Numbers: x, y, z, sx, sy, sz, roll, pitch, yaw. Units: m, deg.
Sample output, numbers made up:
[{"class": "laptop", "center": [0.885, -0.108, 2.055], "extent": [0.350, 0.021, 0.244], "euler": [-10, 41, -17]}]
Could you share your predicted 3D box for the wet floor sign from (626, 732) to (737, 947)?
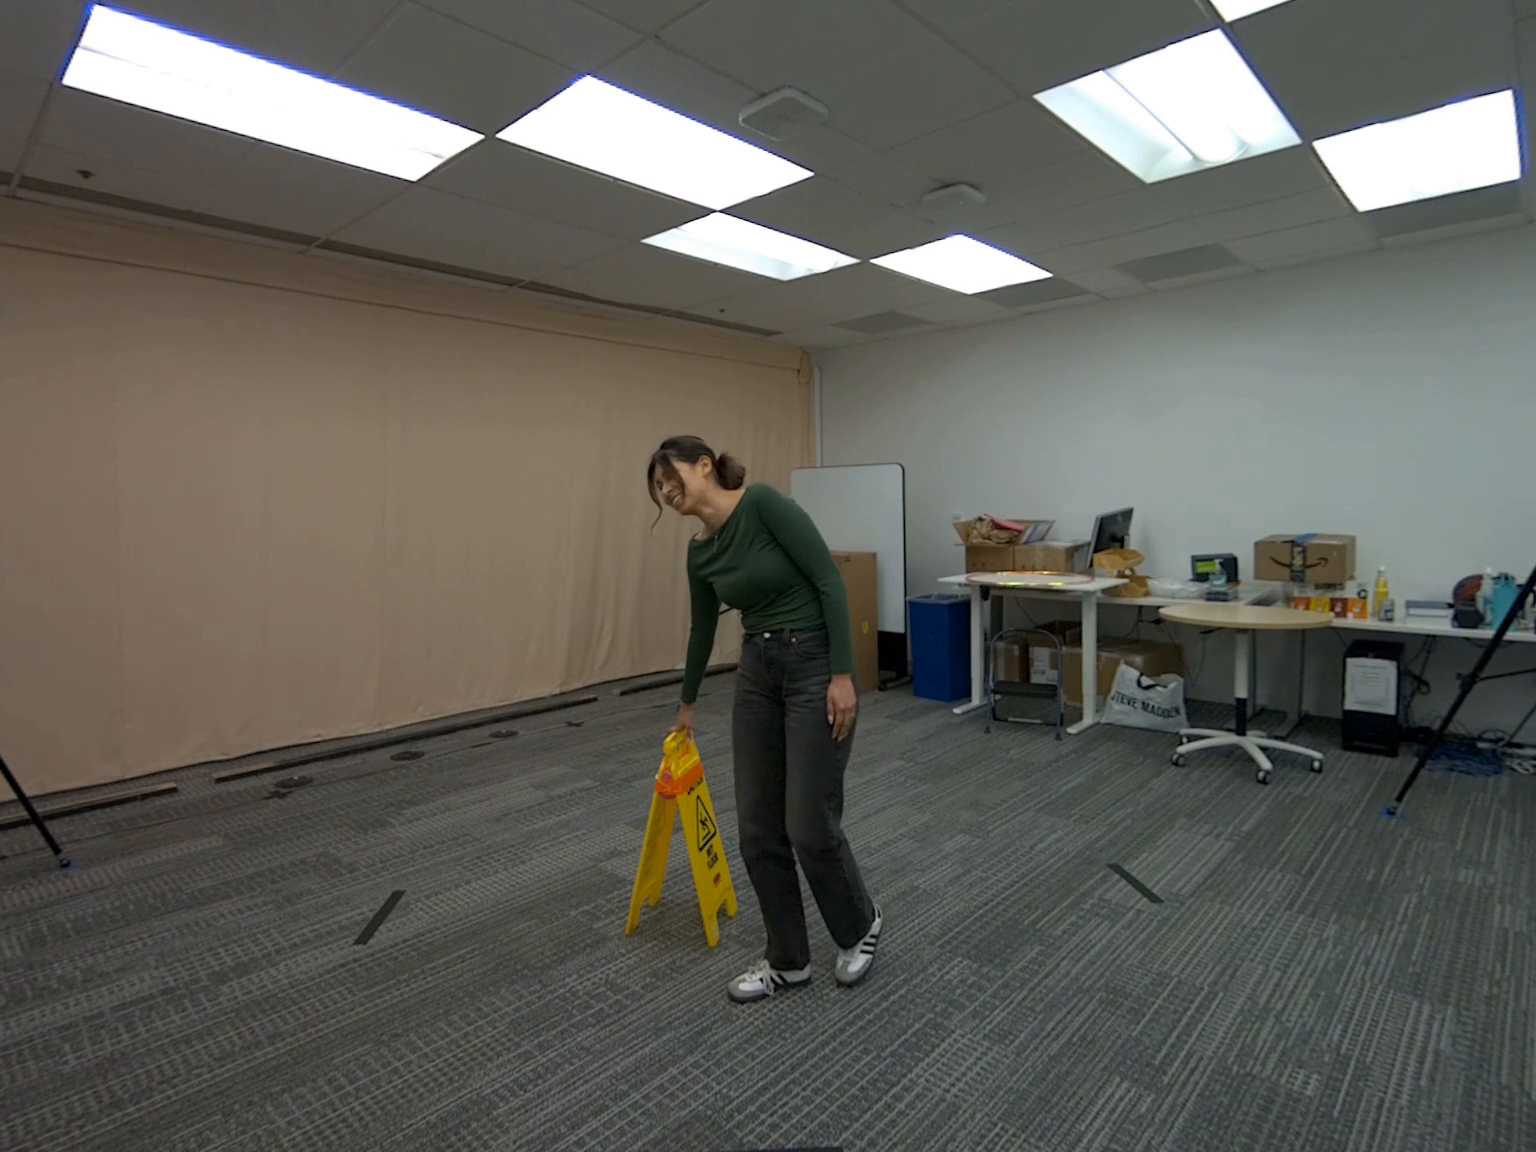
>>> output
[{"class": "wet floor sign", "center": [-0.287, 0.838, 2.802], "extent": [0.295, 0.644, 0.278], "euler": [1, 5, 17]}]
